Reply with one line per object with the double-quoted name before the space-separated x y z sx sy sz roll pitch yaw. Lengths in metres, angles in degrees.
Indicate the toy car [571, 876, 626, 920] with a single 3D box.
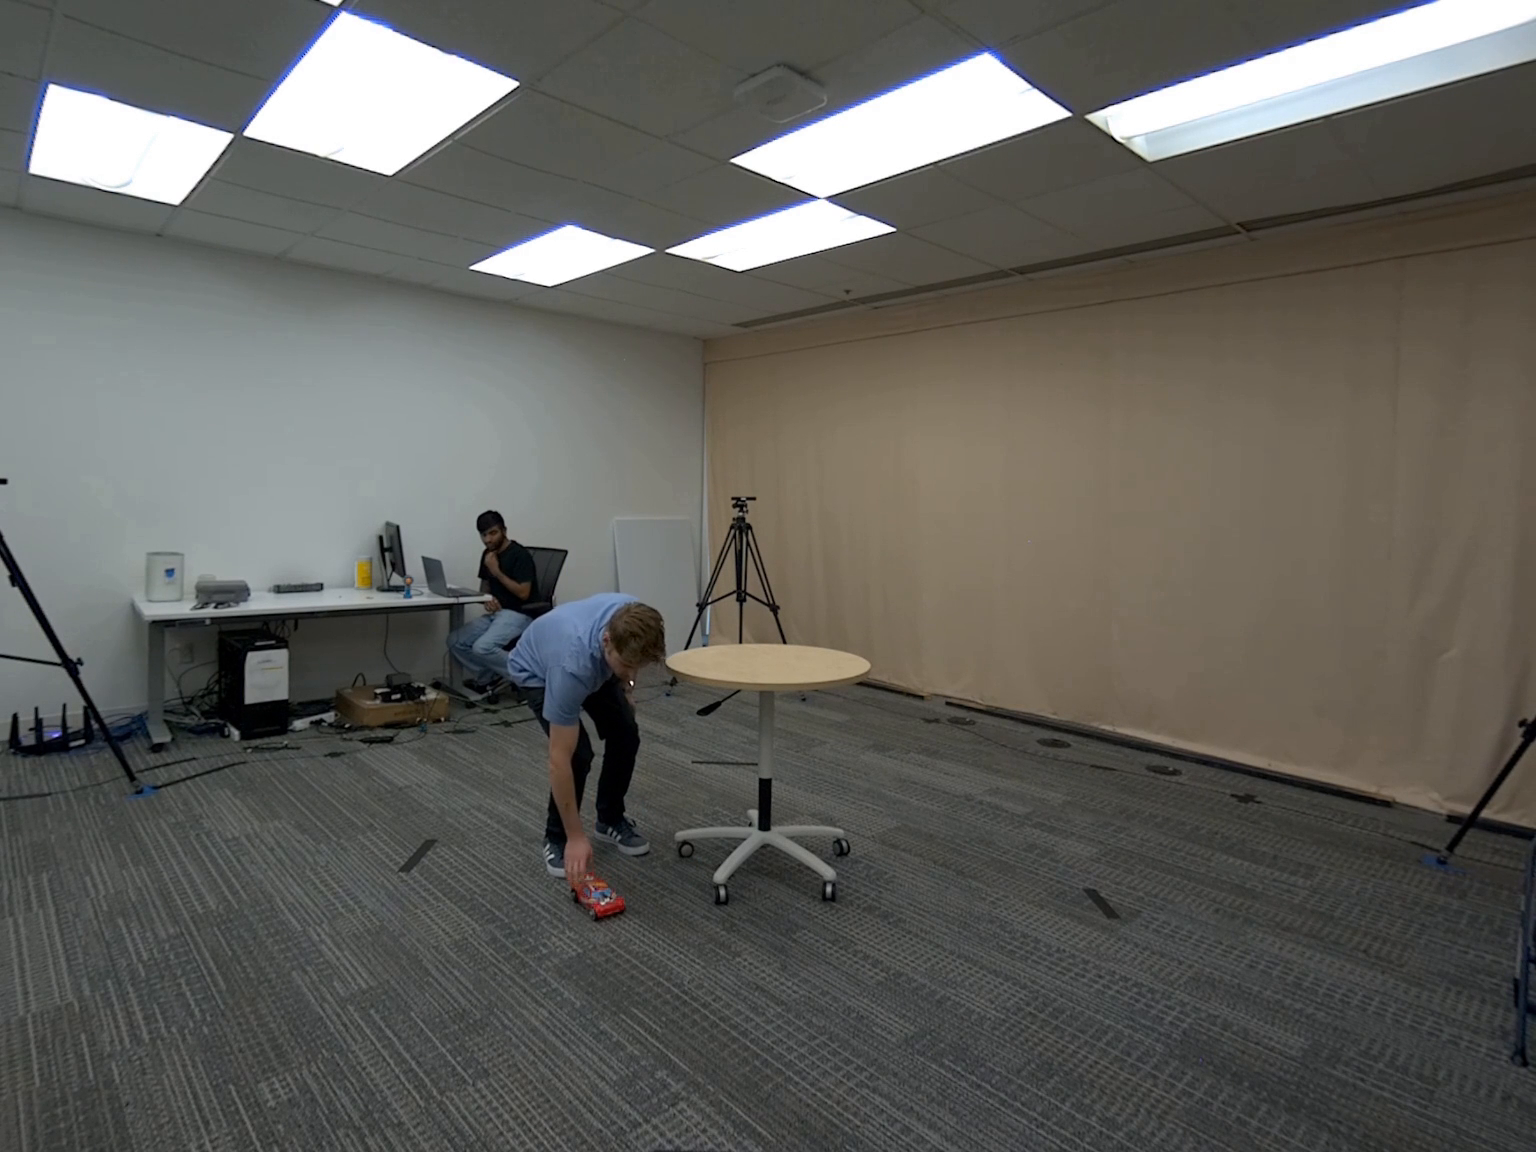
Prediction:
"toy car" -0.595 1.088 2.863 0.127 0.082 0.262 -3 17 -35
